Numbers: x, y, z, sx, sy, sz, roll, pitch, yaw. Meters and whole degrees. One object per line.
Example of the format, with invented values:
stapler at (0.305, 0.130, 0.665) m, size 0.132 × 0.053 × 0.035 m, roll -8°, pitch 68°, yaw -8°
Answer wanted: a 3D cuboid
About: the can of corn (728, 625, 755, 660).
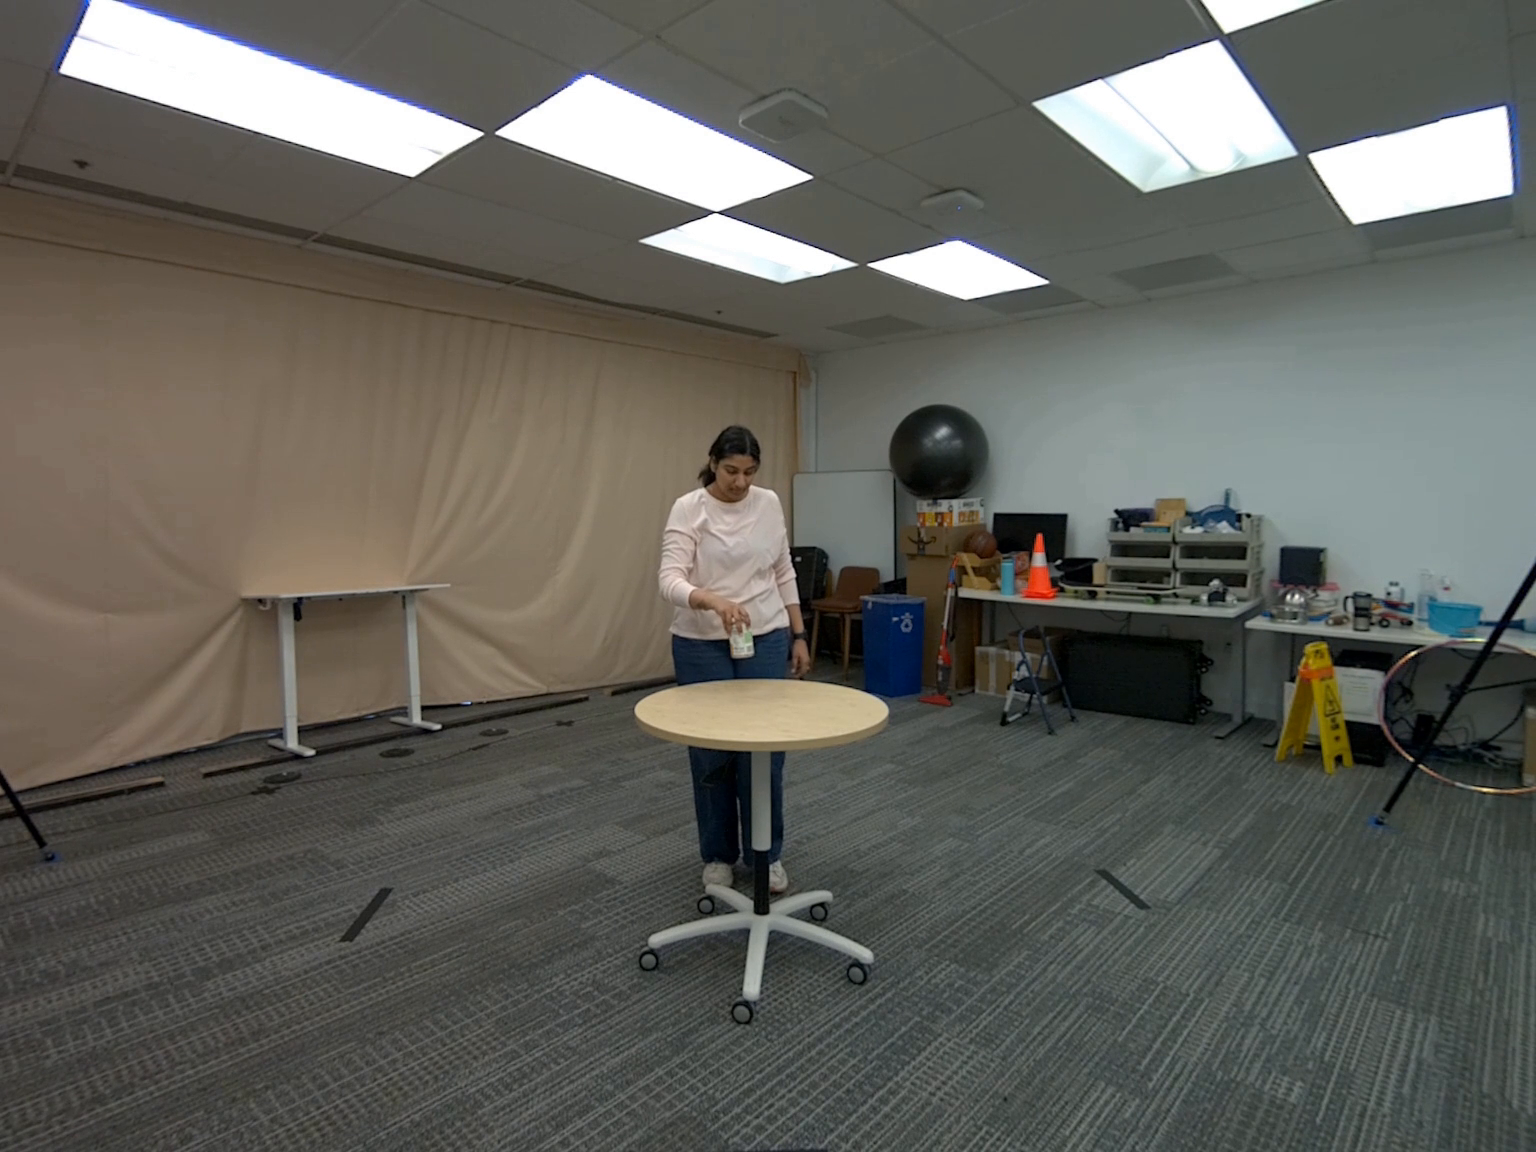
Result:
can of corn at (-0.085, 0.204, 2.721) m, size 0.074 × 0.111 × 0.074 m, roll -7°, pitch -1°, yaw -2°
